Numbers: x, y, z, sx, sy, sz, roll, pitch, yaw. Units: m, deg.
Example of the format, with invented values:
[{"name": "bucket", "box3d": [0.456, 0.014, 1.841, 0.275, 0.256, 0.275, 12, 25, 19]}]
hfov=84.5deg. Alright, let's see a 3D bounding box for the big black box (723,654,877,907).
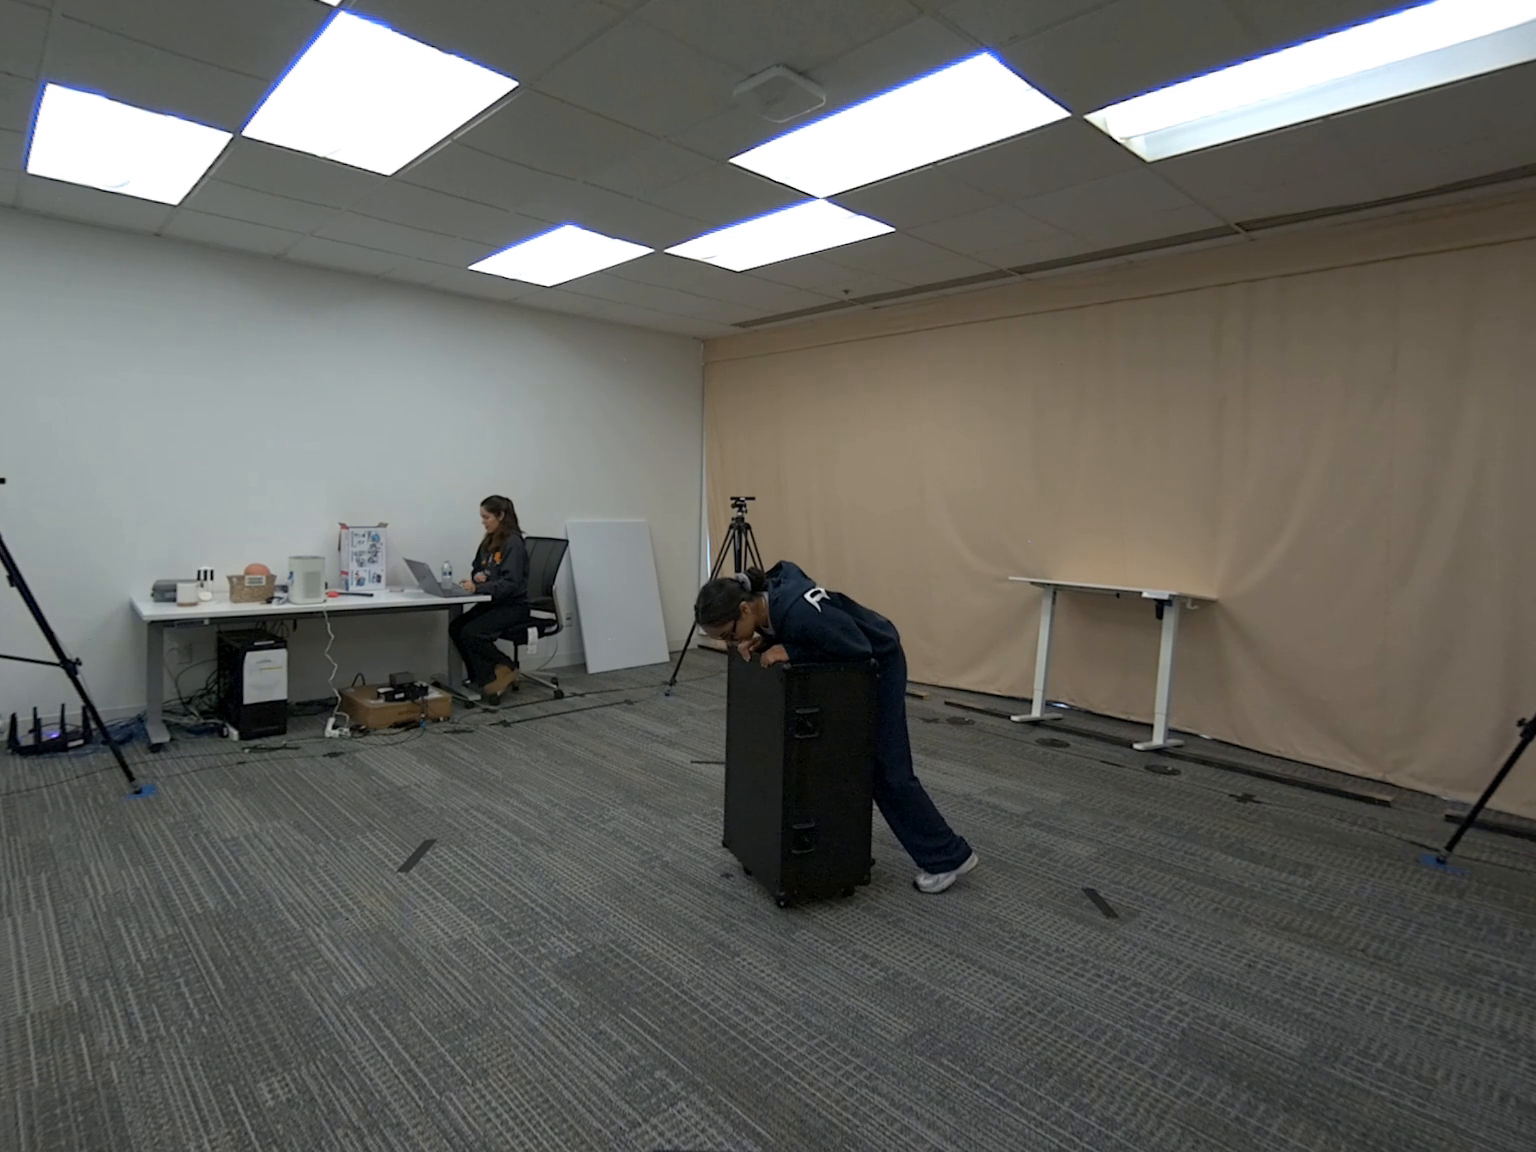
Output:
[{"name": "big black box", "box3d": [0.097, 0.697, 3.047, 0.389, 0.860, 0.531, 1, 3, -25]}]
